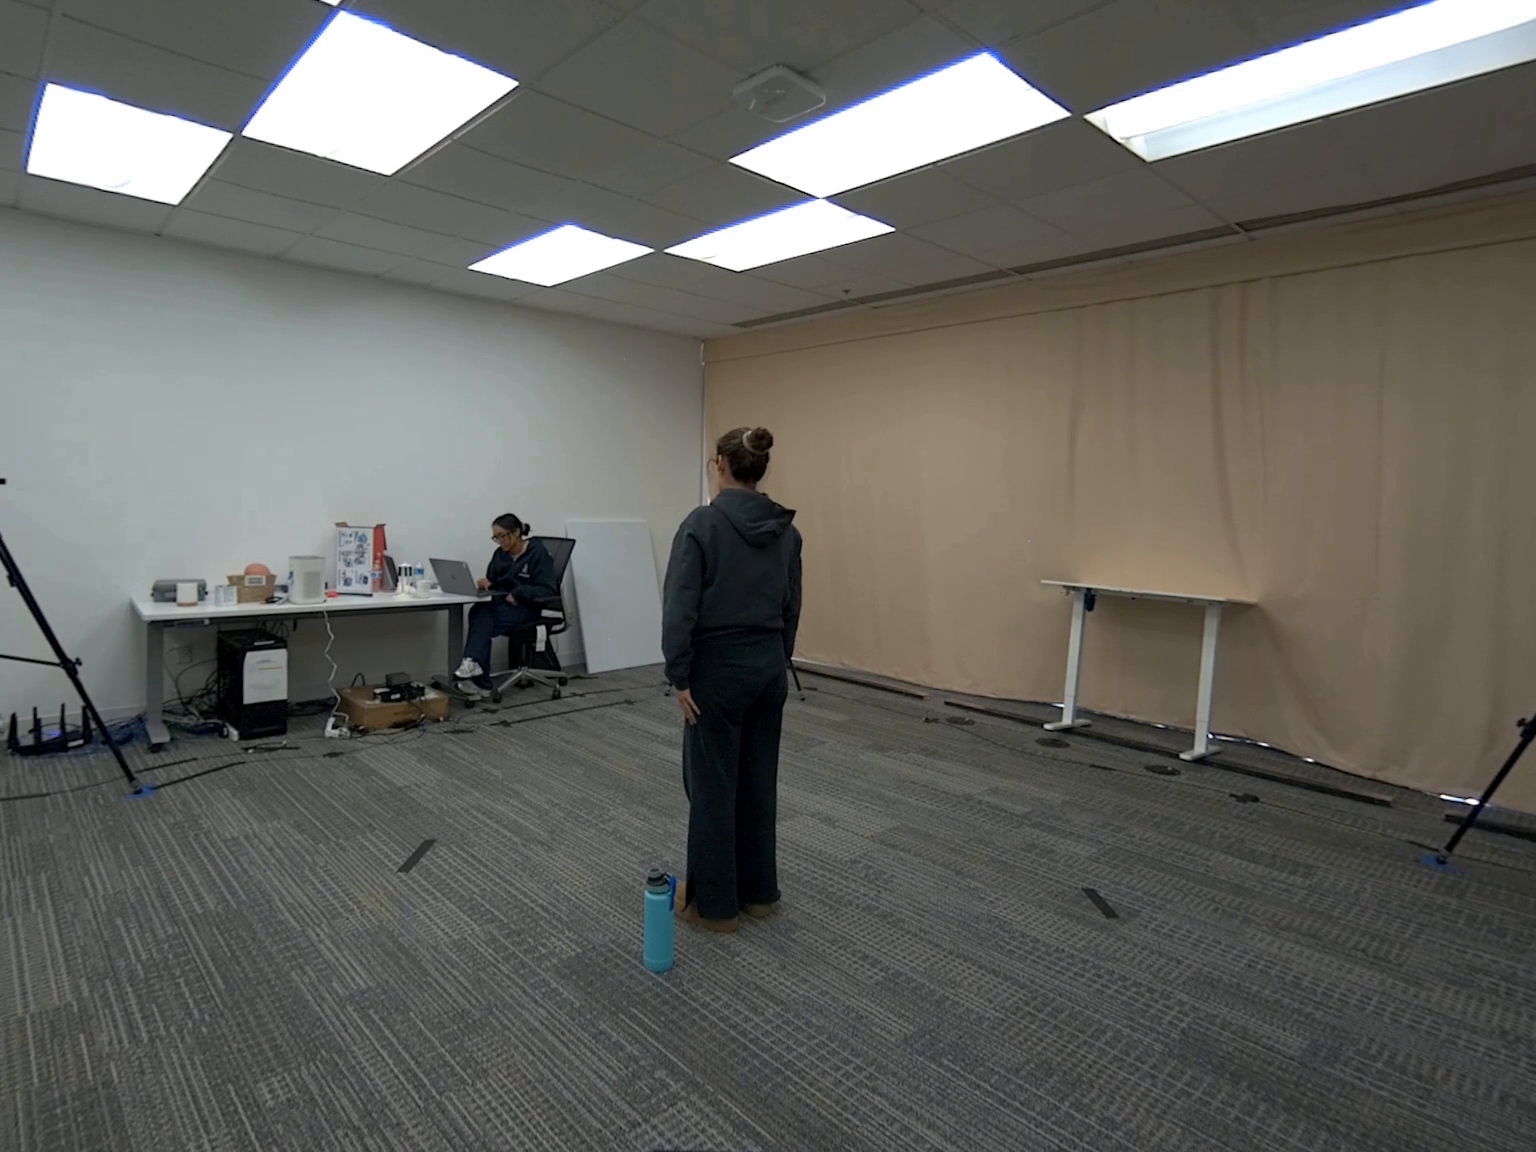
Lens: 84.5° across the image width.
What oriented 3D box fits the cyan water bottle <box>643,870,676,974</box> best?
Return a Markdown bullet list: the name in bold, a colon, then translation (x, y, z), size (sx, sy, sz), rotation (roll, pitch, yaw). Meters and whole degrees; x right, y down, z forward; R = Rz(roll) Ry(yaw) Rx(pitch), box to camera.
- **cyan water bottle**: translation (-0.324, 1.018, 2.509), size (0.092, 0.283, 0.092), rotation (3, 3, -2)
